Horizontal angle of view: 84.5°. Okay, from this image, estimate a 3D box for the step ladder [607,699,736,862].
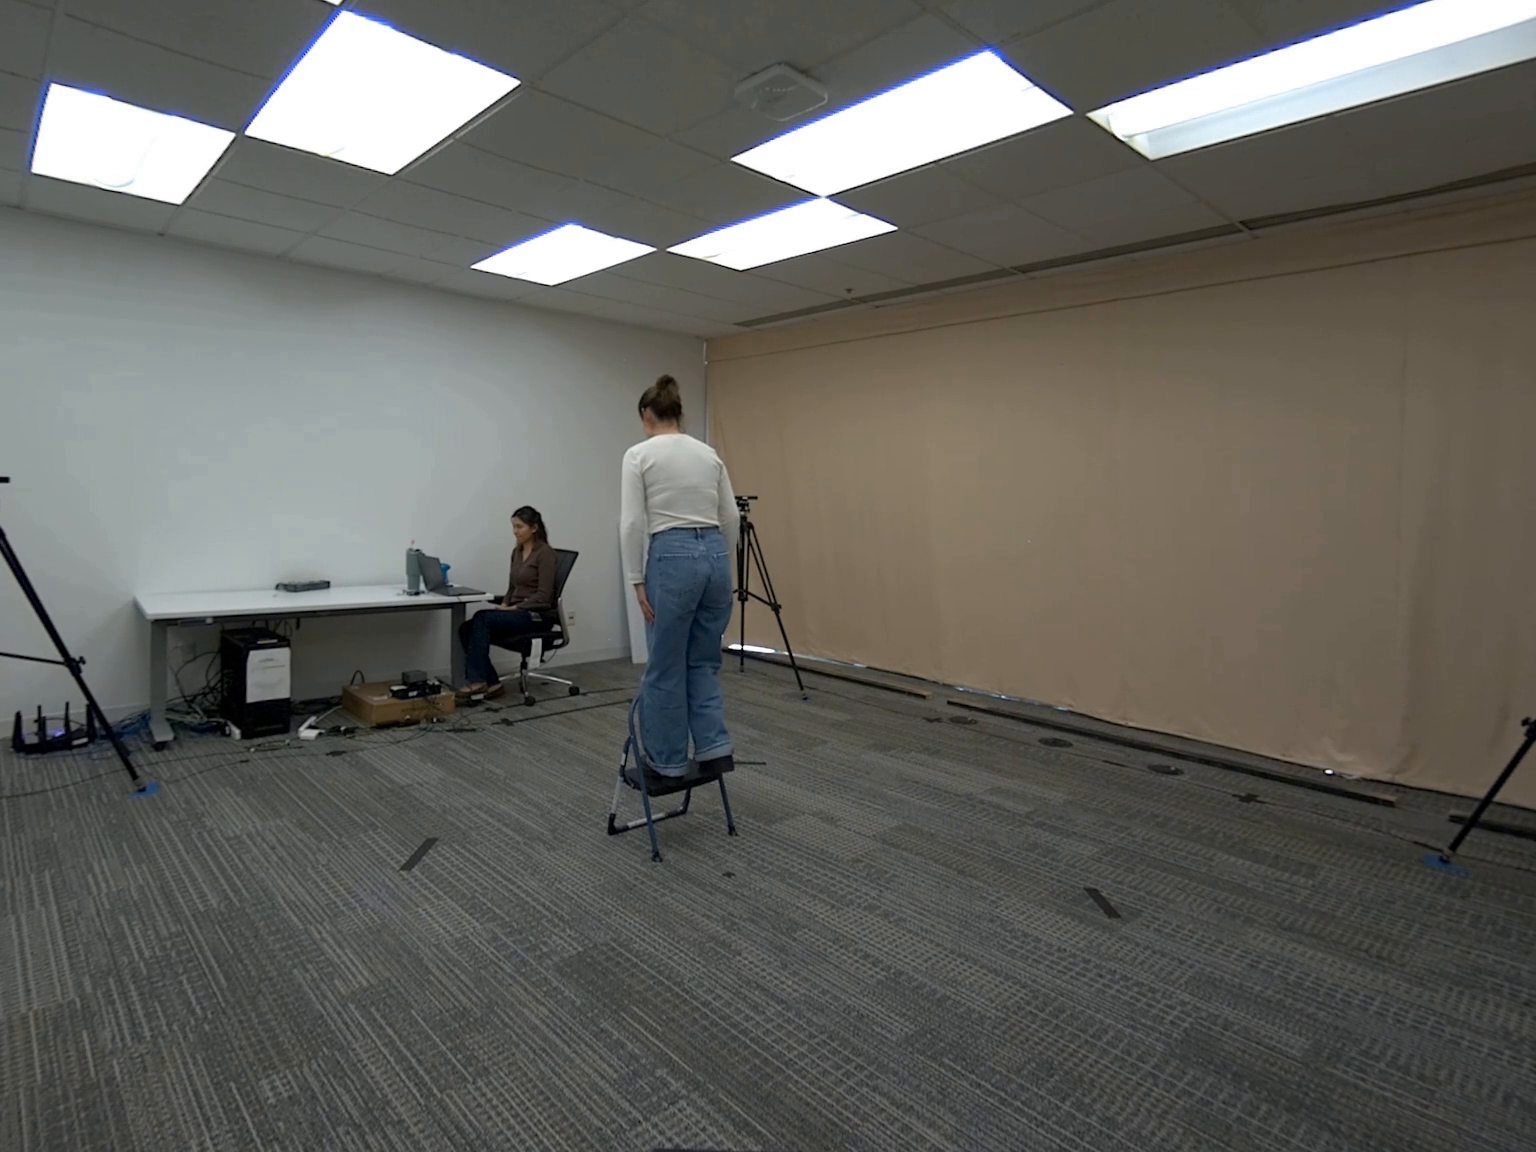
[{"bbox_3d":[-0.391,0.765,3.451,0.420,0.605,0.358,-1,5,-45],"label":"step ladder"}]
